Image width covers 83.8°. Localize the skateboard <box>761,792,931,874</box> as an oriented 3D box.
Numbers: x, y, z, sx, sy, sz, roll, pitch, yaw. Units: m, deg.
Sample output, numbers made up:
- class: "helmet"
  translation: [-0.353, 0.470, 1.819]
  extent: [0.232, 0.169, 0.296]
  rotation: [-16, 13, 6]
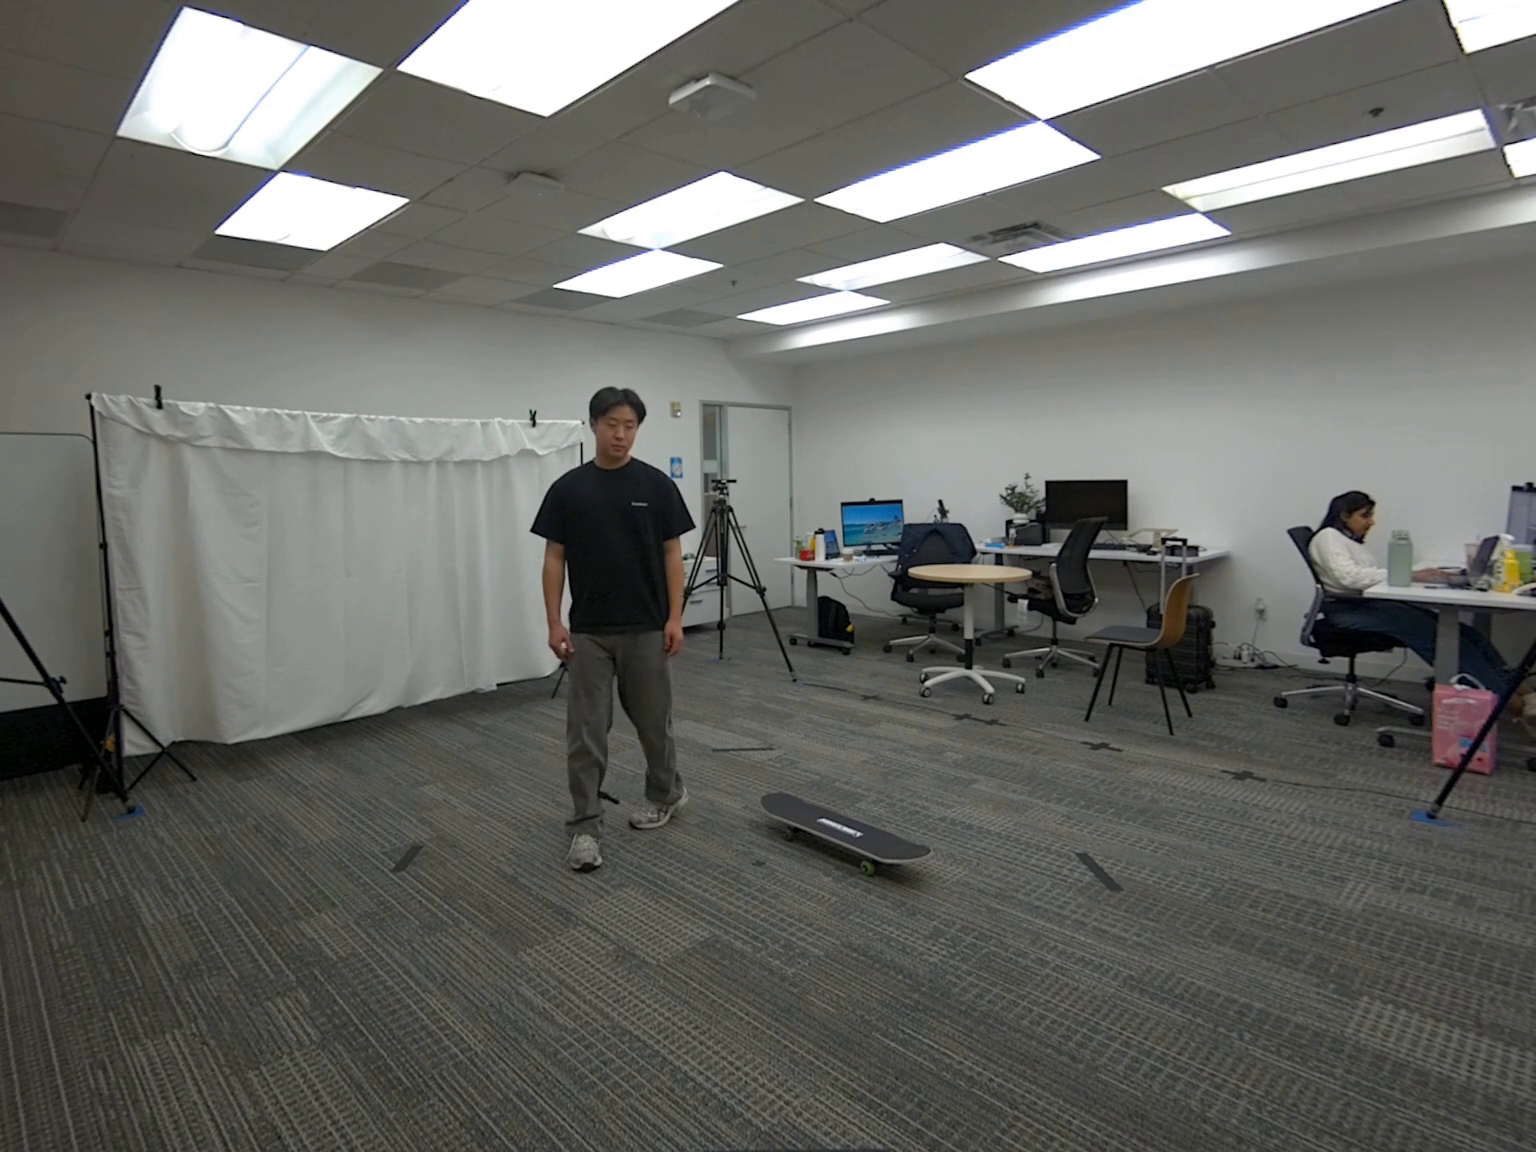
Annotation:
- class: "skateboard"
  translation: [0.272, 0.979, 3.197]
  extent: [0.188, 0.110, 0.810]
  rotation: [-7, 8, -42]
